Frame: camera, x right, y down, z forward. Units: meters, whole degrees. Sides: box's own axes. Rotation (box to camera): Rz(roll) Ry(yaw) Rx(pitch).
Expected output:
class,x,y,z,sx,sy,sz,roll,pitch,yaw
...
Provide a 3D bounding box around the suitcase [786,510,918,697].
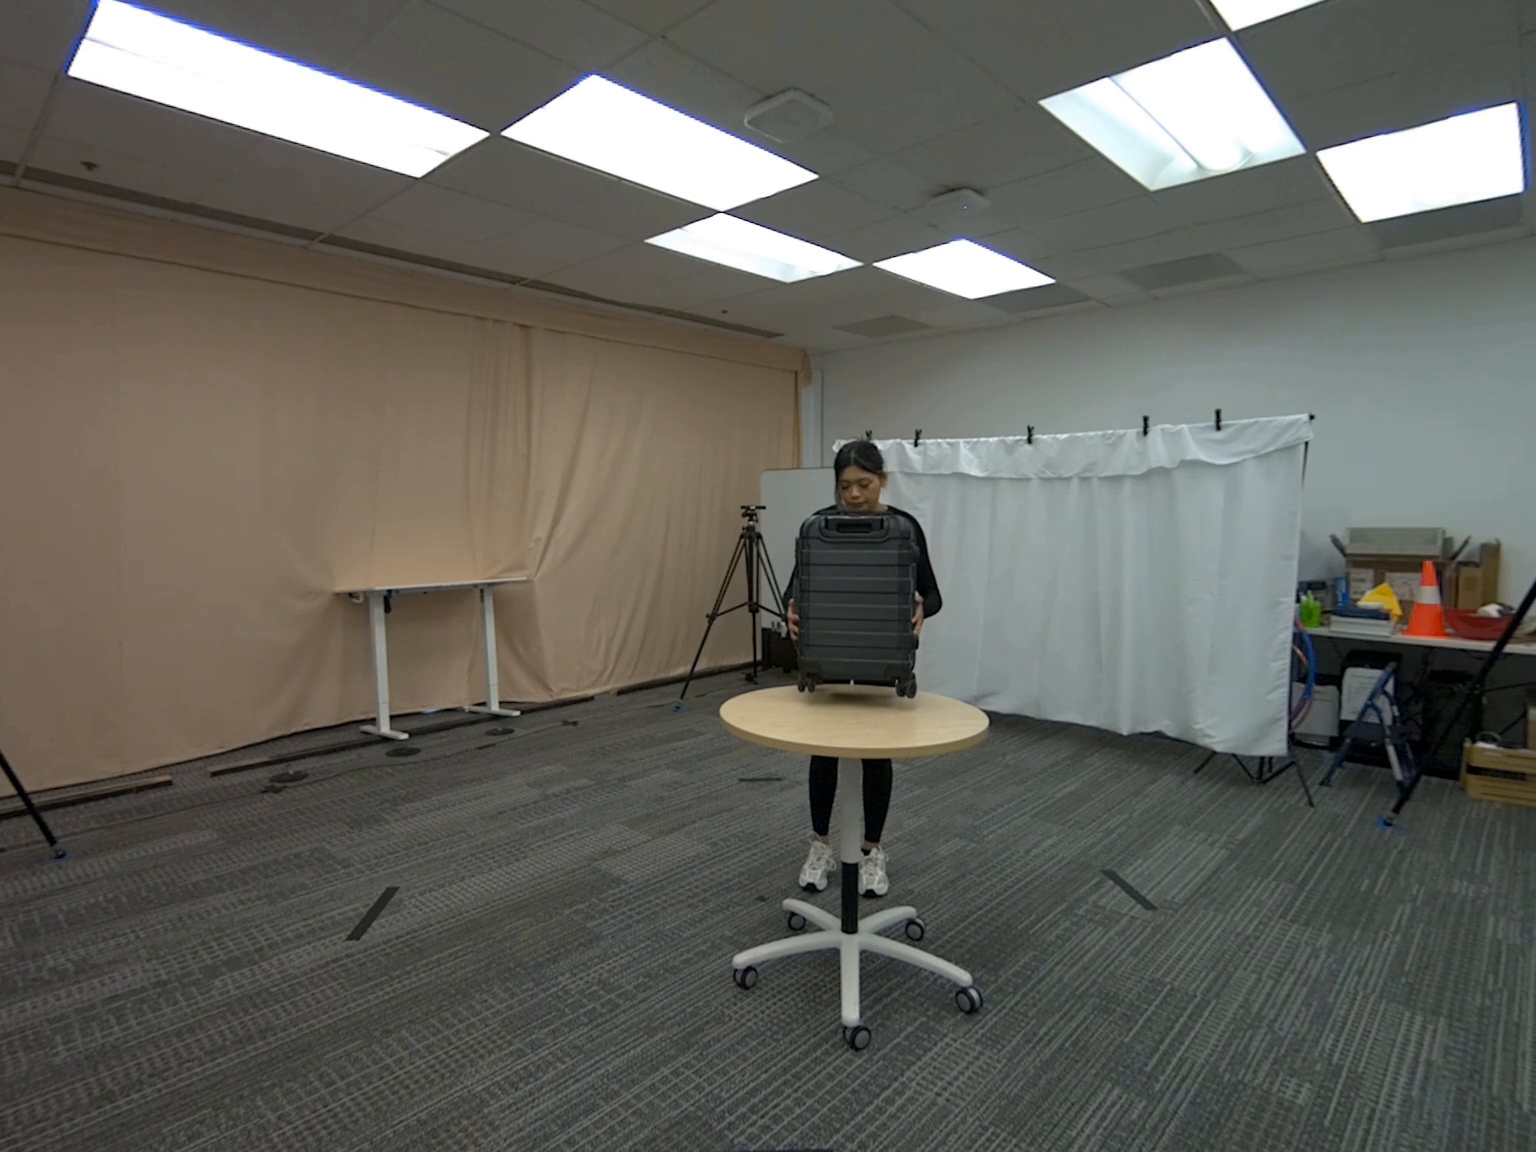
class,x,y,z,sx,sy,sz,roll,pitch,yaw
suitcase,0.274,0.075,2.606,0.382,0.550,0.244,0,-1,15
